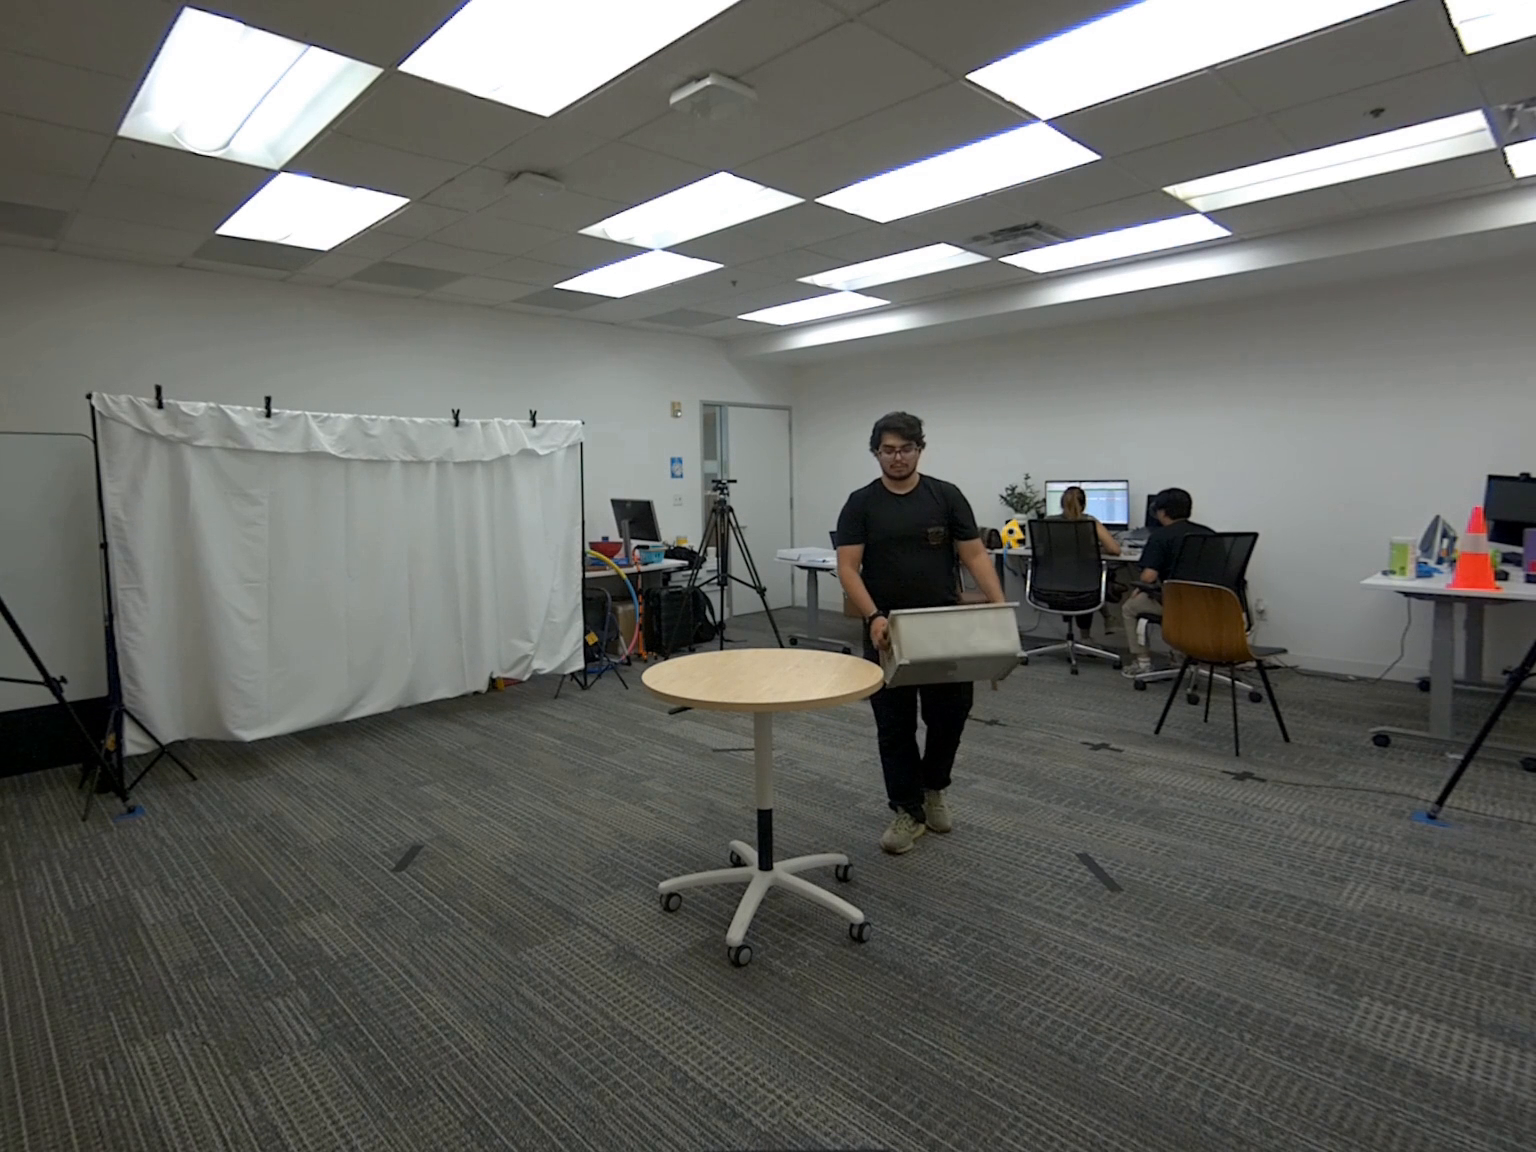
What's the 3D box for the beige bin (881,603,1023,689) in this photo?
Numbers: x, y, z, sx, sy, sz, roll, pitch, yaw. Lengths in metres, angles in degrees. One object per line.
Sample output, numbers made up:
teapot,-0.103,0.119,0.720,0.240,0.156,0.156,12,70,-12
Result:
beige bin,0.609,0.248,2.946,0.422,0.193,0.370,-2,-21,0
